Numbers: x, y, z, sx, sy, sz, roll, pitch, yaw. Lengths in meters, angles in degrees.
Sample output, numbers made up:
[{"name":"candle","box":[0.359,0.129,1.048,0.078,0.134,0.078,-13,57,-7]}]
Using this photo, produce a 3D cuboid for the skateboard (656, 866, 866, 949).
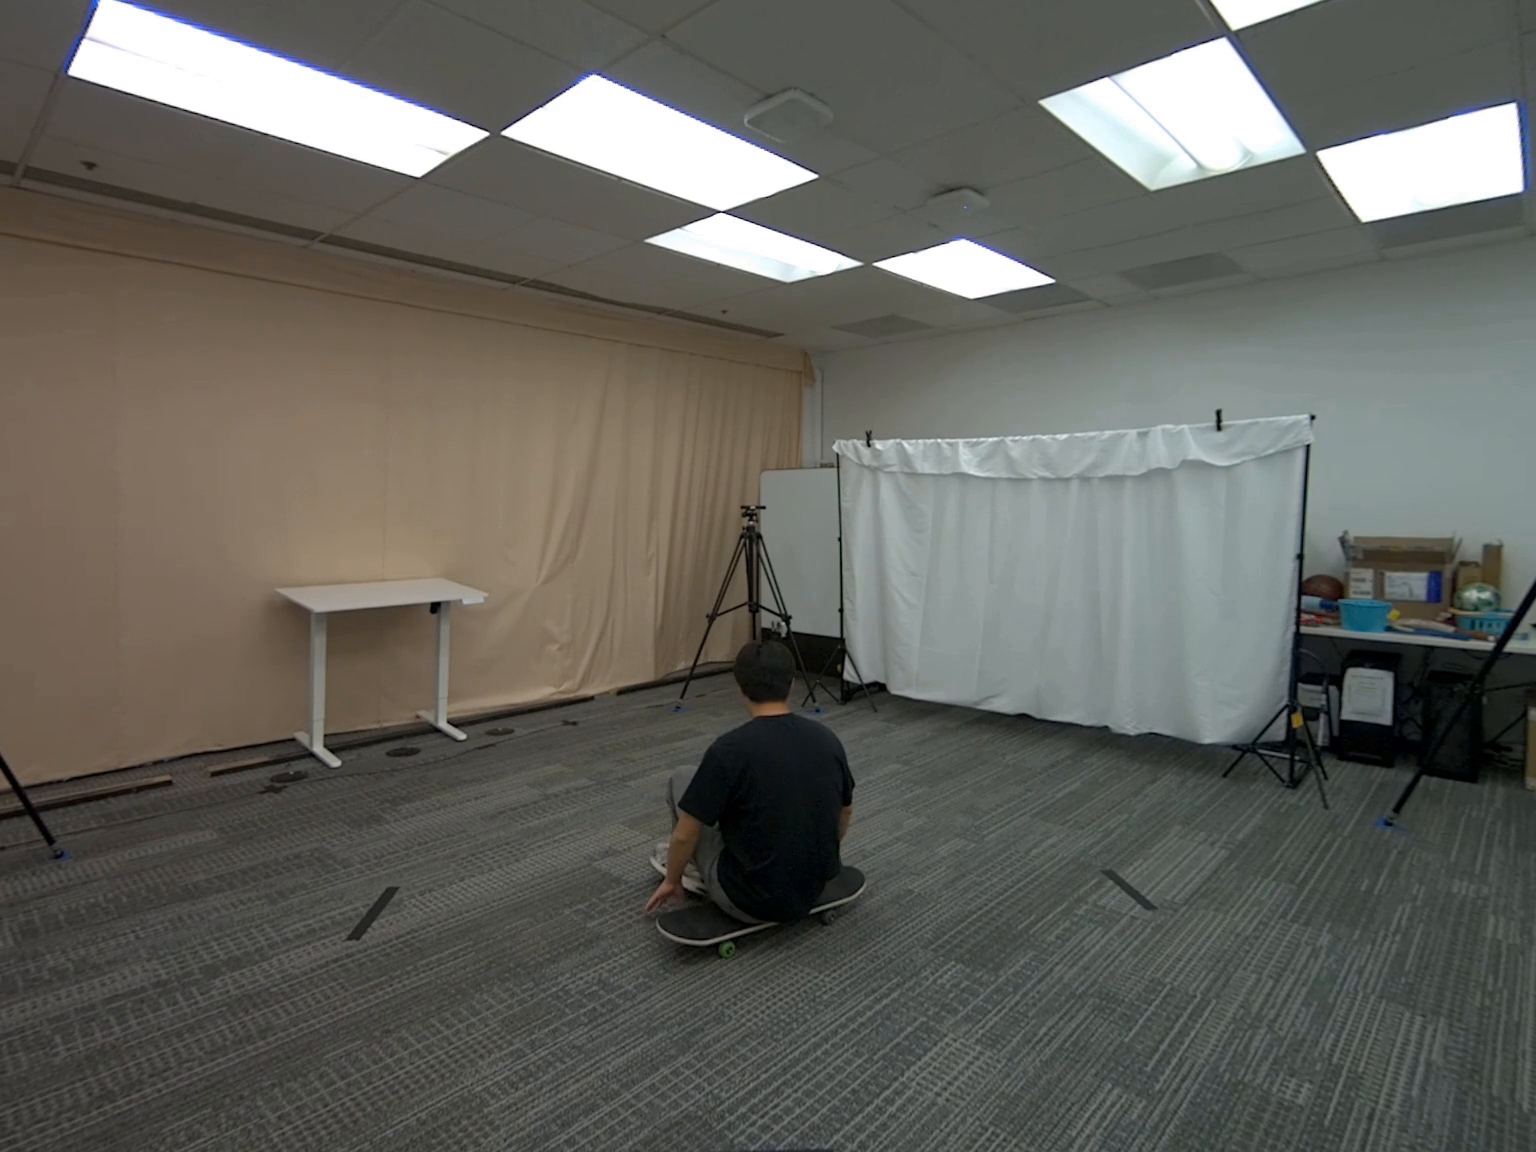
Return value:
[{"name":"skateboard","box":[-0.009,1.111,2.763,0.764,0.110,0.200,-3,10,-31]}]
